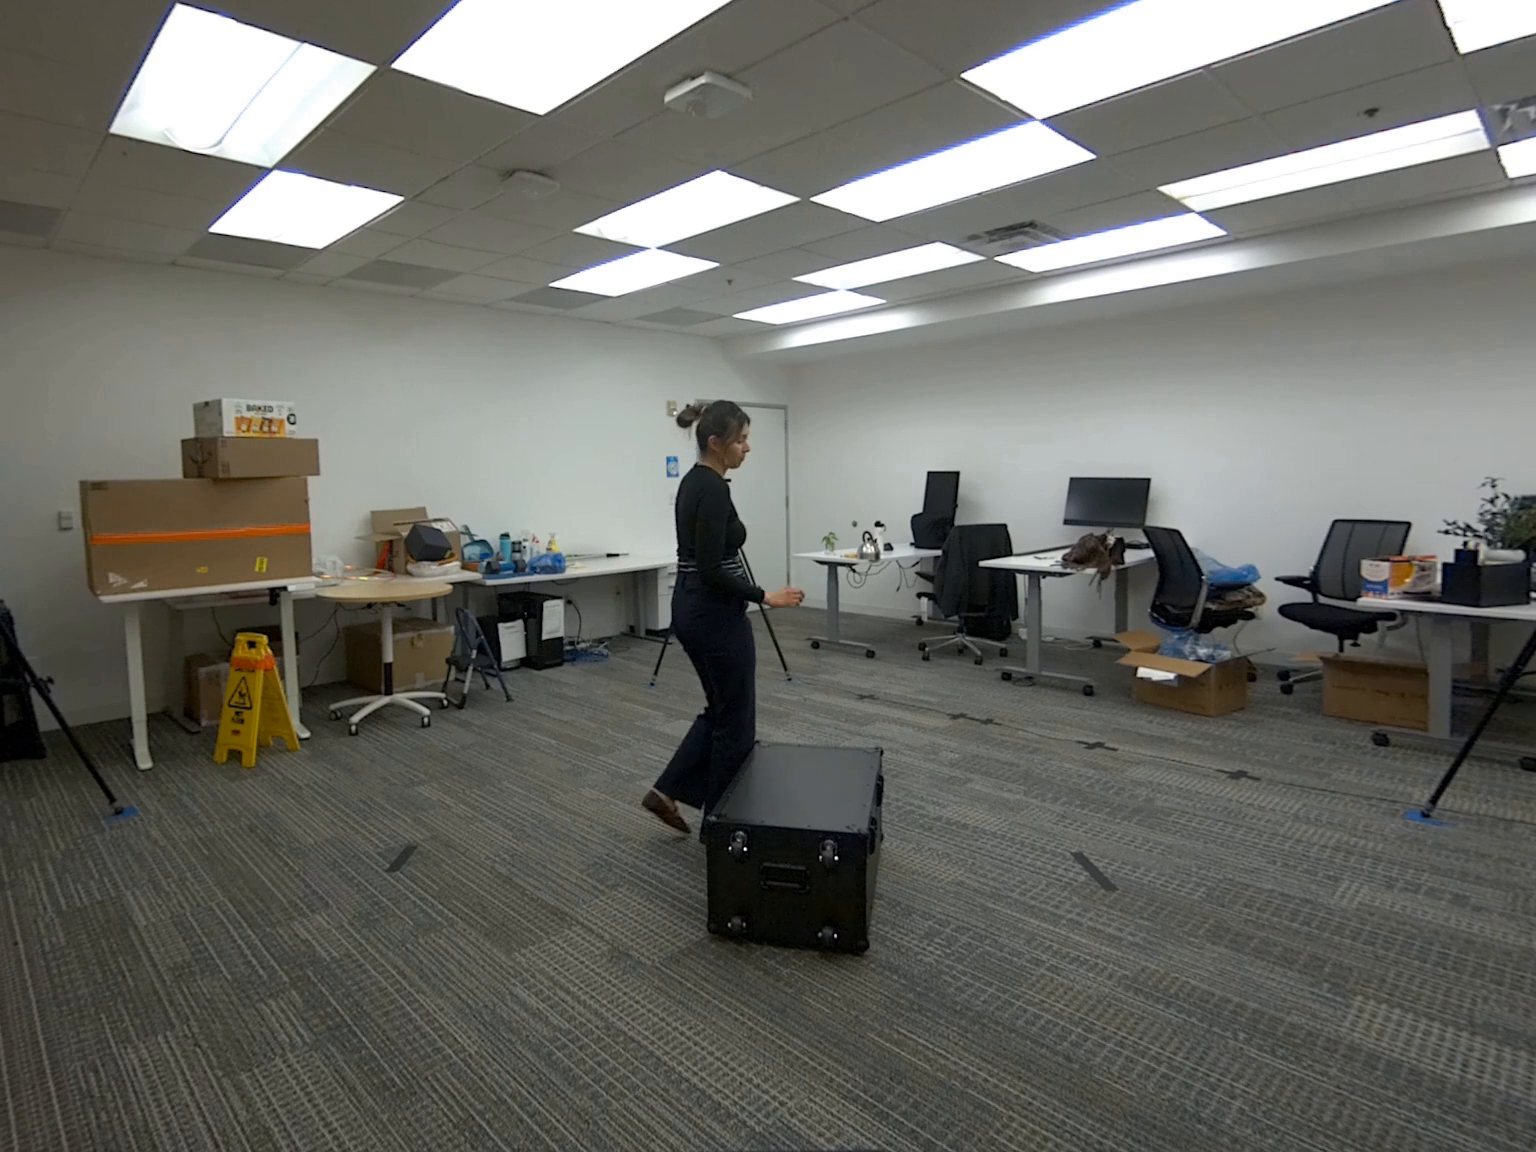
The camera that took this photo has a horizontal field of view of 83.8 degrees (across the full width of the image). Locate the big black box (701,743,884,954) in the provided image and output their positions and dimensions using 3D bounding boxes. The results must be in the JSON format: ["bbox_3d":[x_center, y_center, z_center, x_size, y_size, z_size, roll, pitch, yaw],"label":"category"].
[{"bbox_3d":[0.117,0.874,2.857,0.528,0.395,0.854,0,5,12],"label":"big black box"}]
